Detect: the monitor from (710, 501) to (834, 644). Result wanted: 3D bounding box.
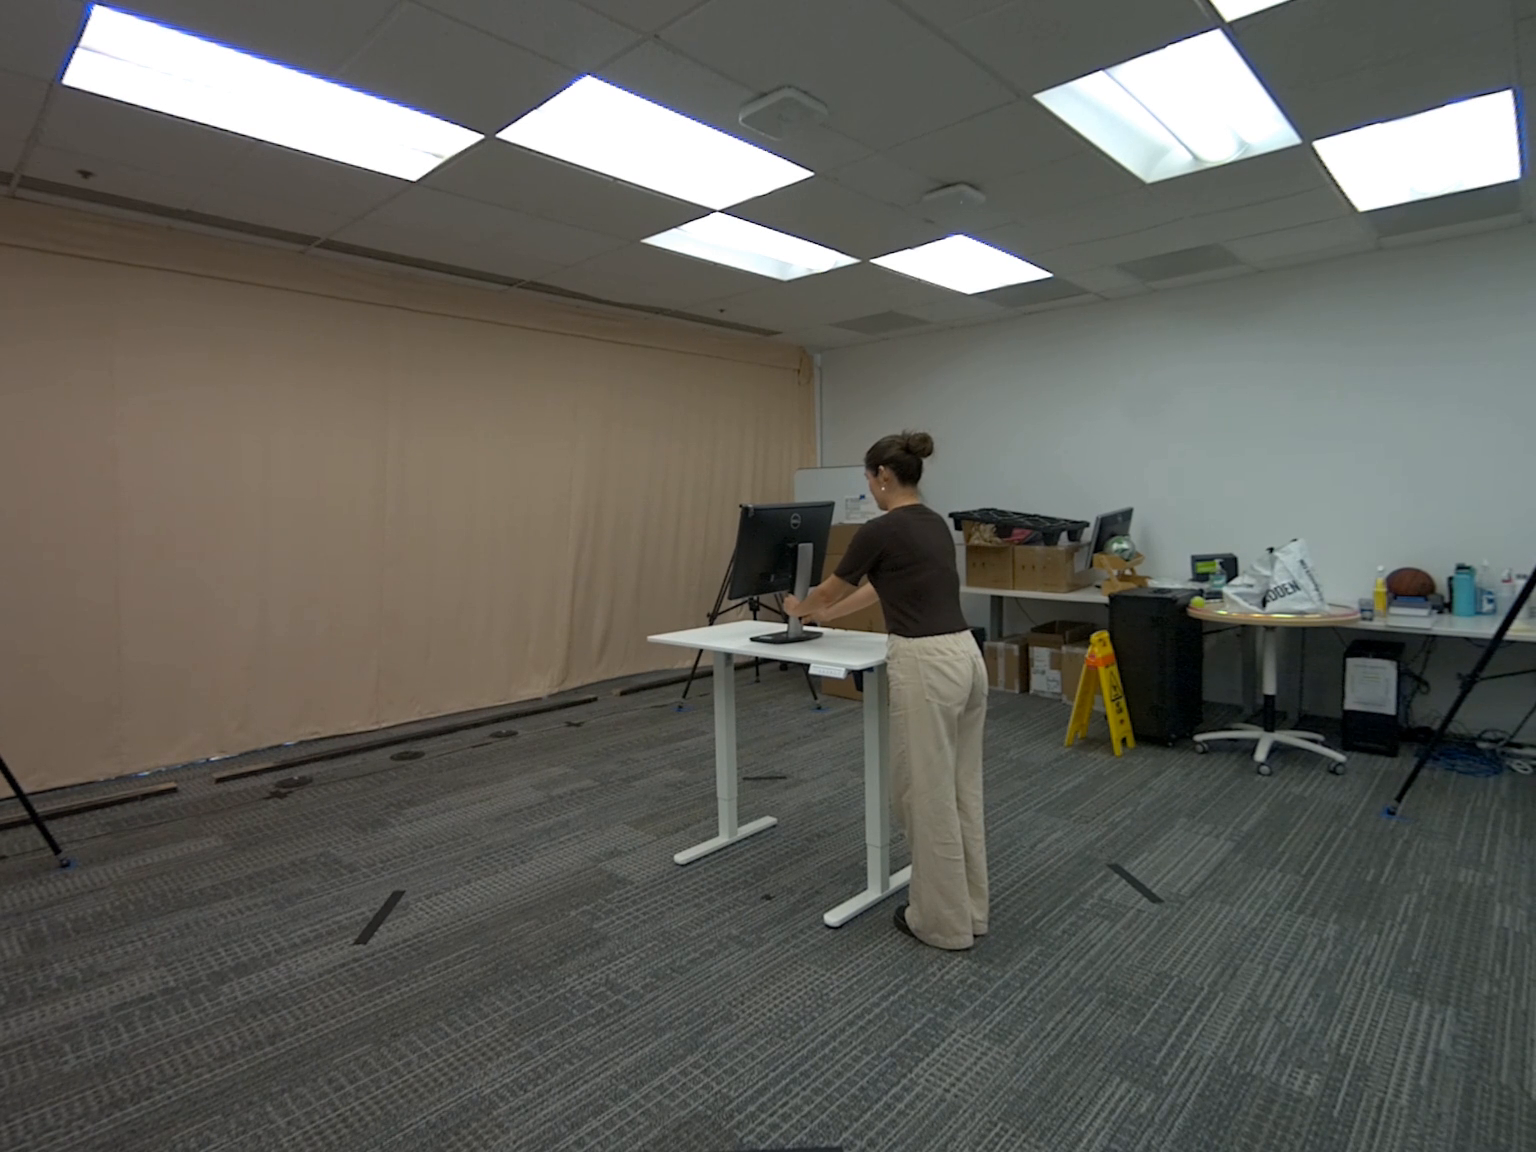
[{"bbox_3d":[0.081,-0.015,3.169,0.180,0.515,0.514,-3,2,42],"label":"monitor"}]
